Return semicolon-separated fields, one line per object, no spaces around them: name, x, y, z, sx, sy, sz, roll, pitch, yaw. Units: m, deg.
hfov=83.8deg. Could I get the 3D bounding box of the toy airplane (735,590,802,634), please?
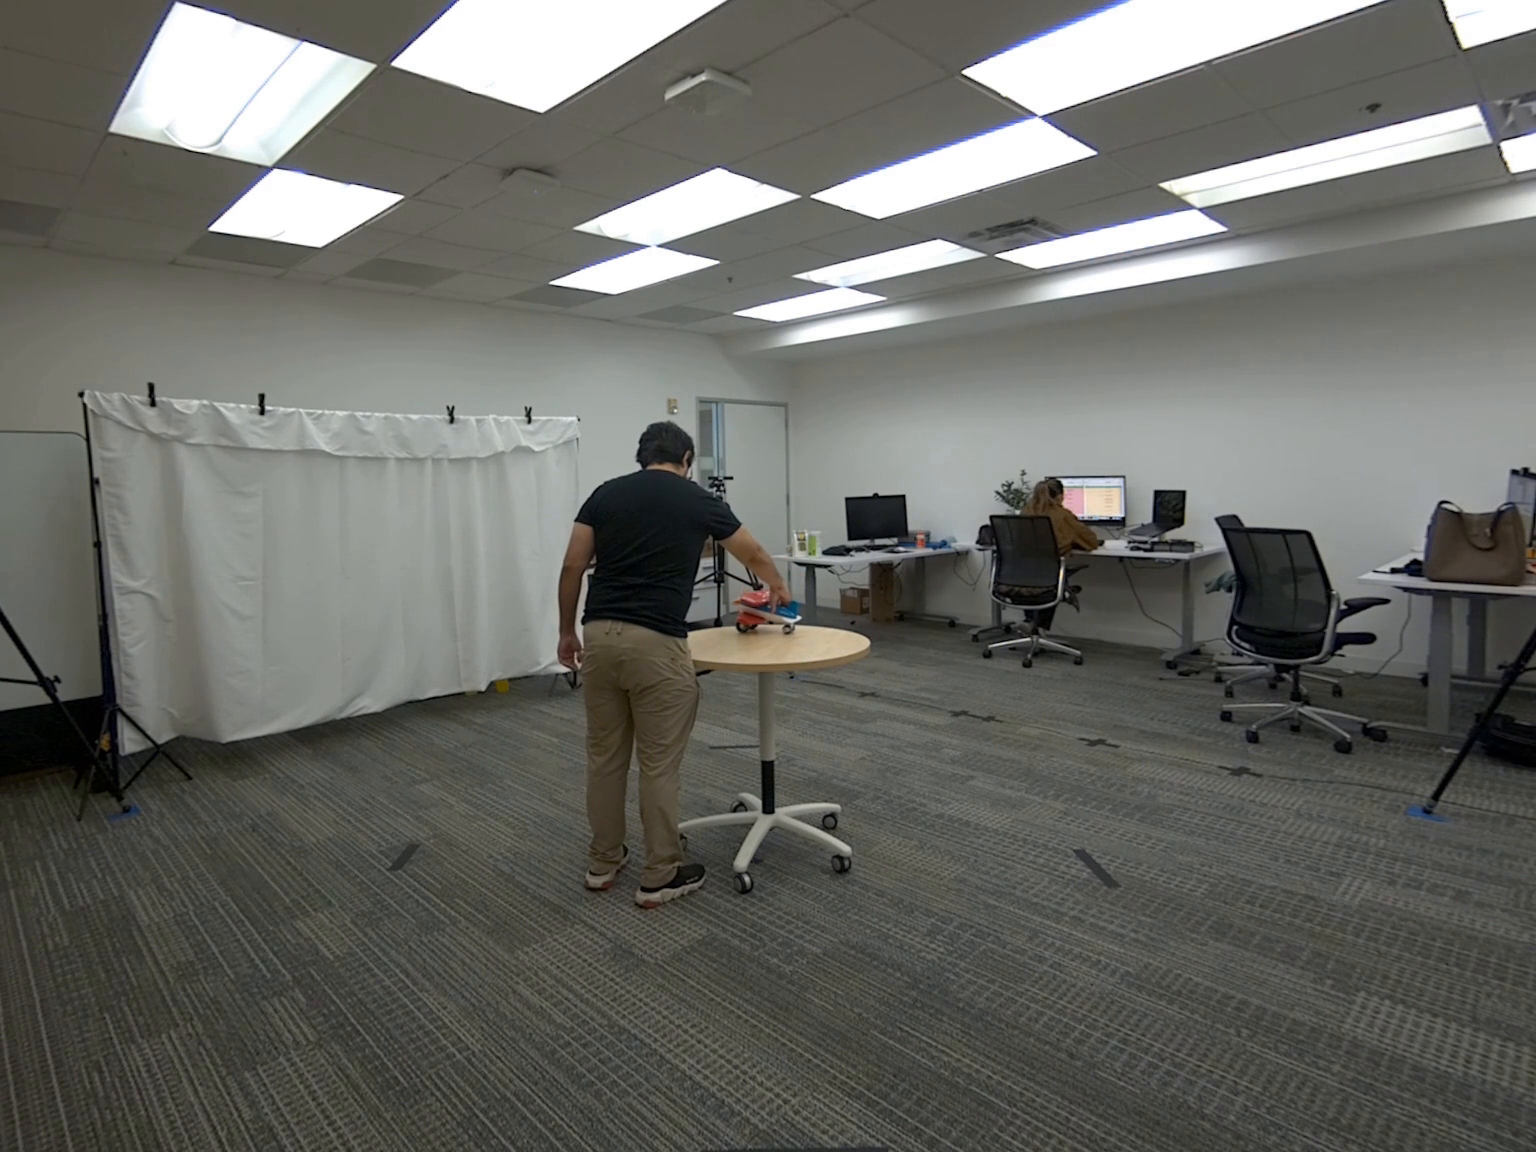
toy airplane;0.001;0.144;3.393;0.258;0.156;0.253;-2;5;-5
